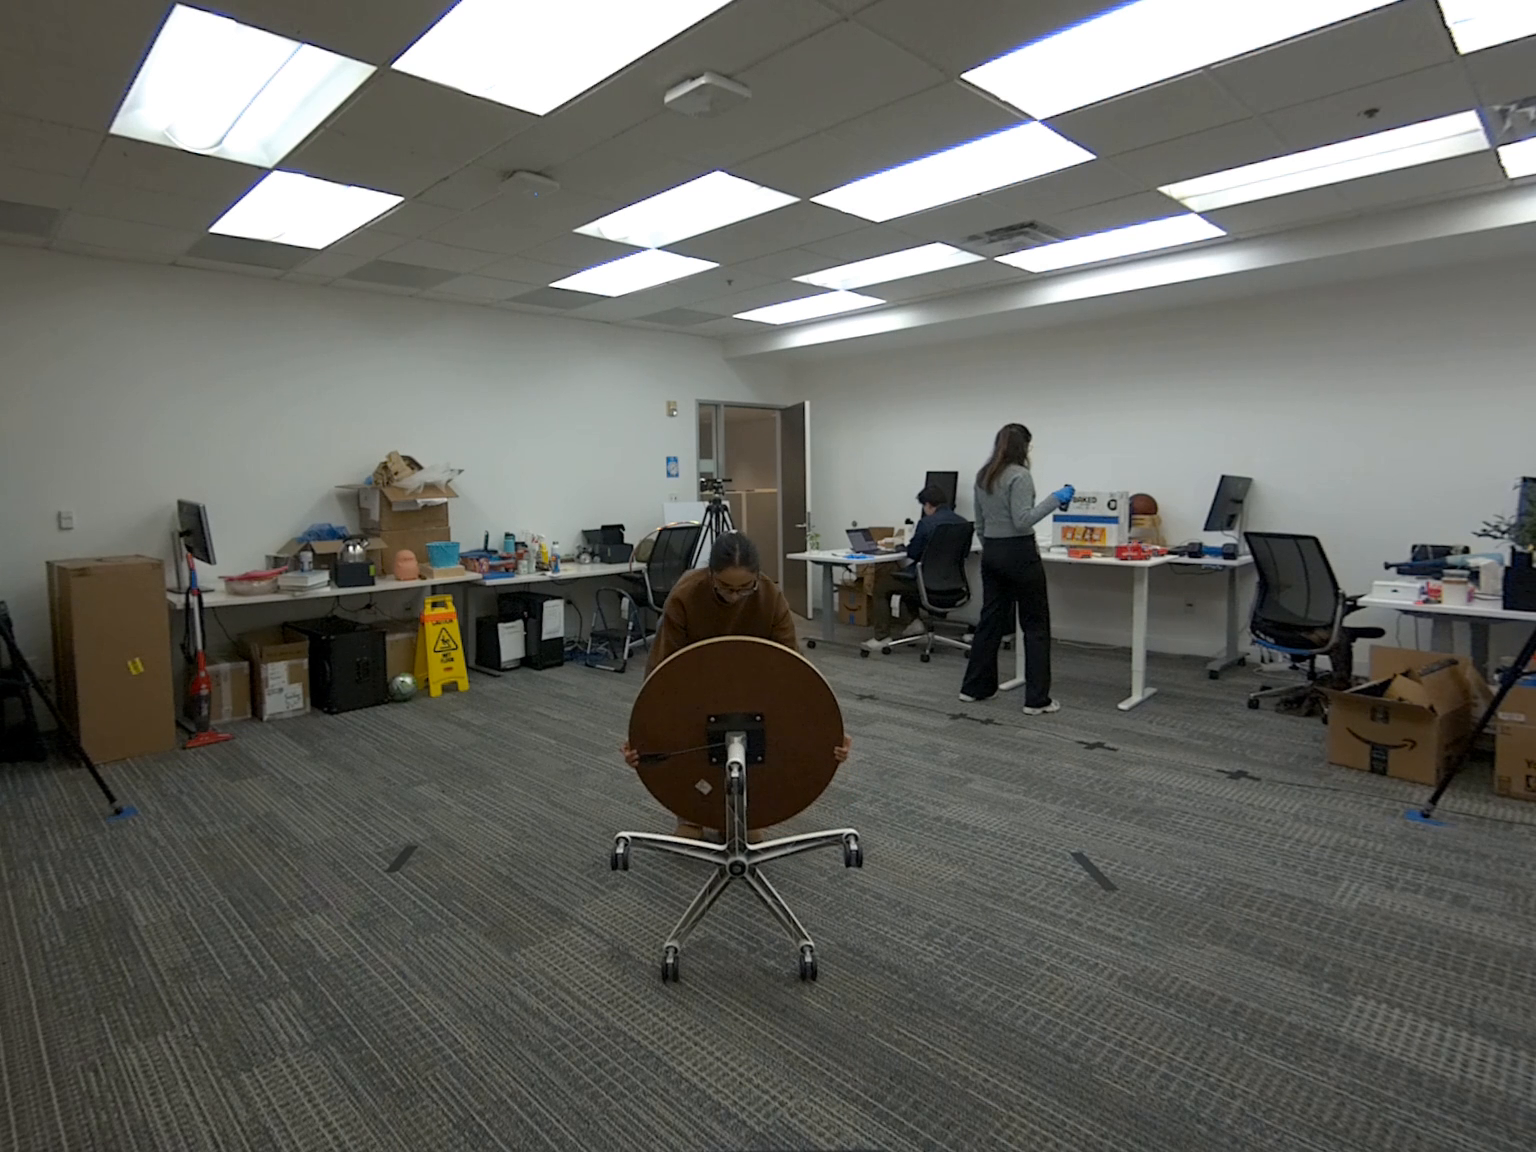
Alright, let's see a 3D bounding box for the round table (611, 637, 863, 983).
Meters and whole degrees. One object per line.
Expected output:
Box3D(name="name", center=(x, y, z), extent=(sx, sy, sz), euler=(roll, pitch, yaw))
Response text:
Box3D(name="round table", center=(-0.105, 0.705, 2.663), extent=(0.764, 0.752, 0.806), euler=(-1, 18, 0))
